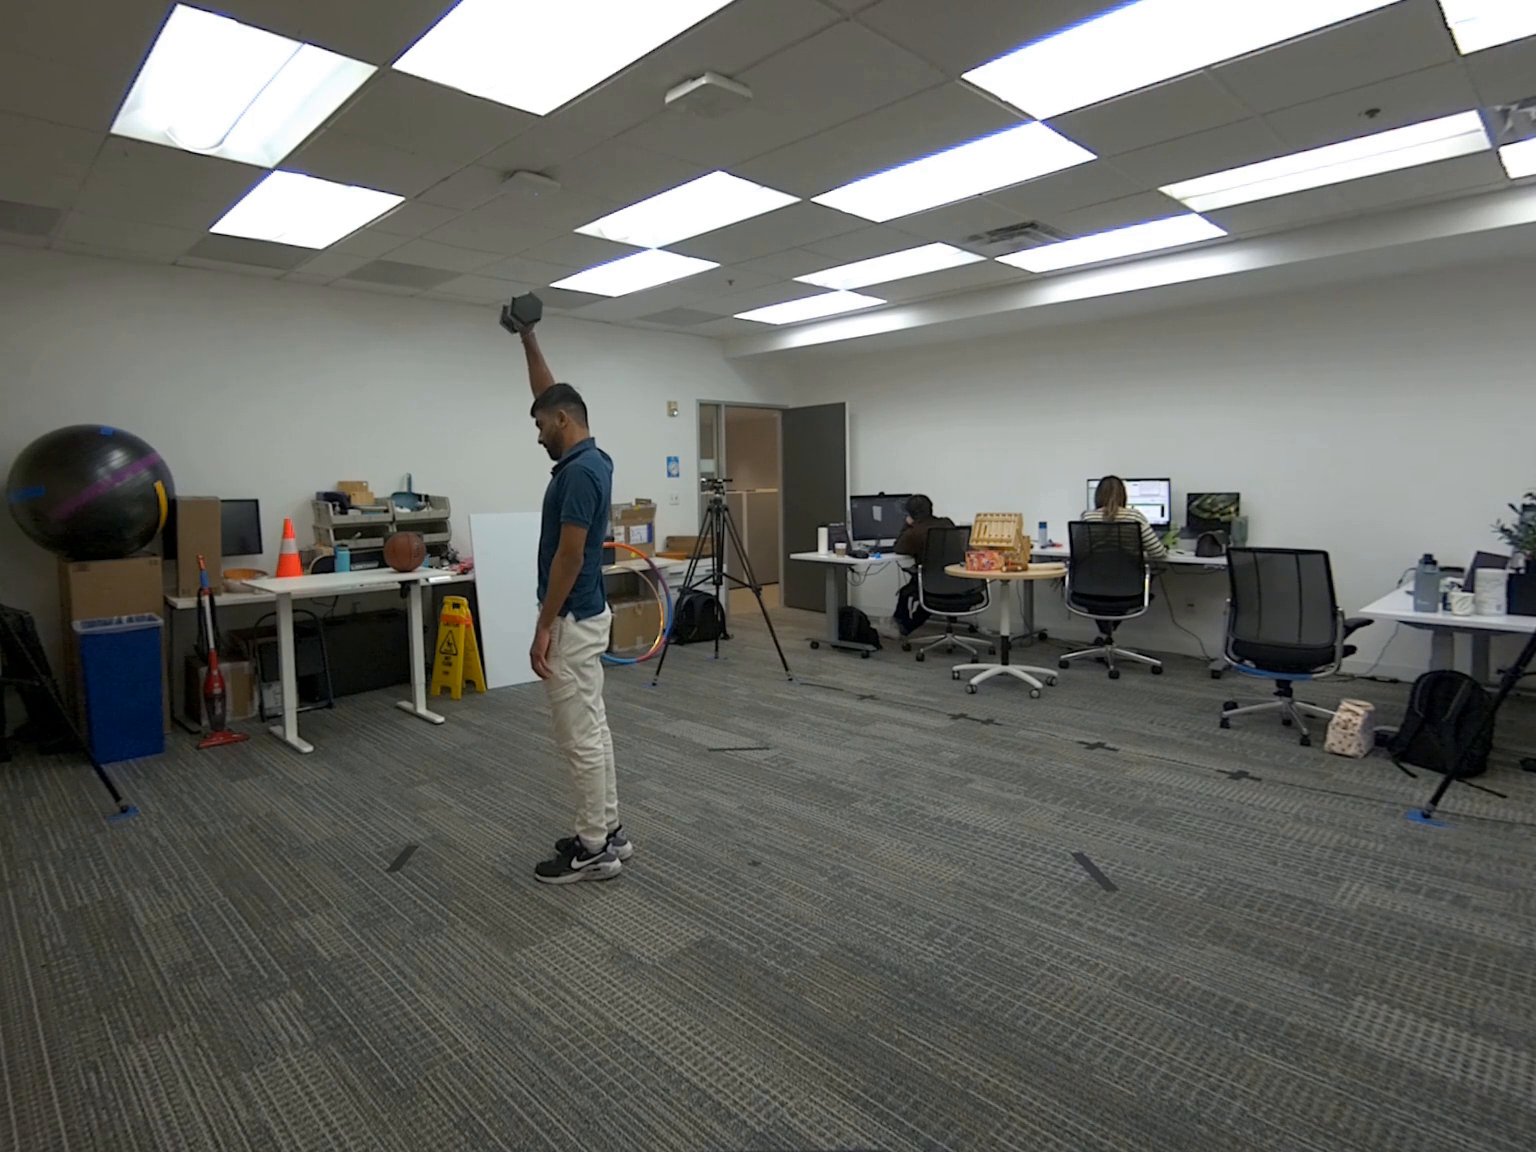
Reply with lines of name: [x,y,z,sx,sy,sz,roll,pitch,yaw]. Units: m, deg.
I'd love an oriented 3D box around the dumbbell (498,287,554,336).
dumbbell: [-0.869,-0.943,3.058,0.122,0.107,0.302,-23,18,-18]
